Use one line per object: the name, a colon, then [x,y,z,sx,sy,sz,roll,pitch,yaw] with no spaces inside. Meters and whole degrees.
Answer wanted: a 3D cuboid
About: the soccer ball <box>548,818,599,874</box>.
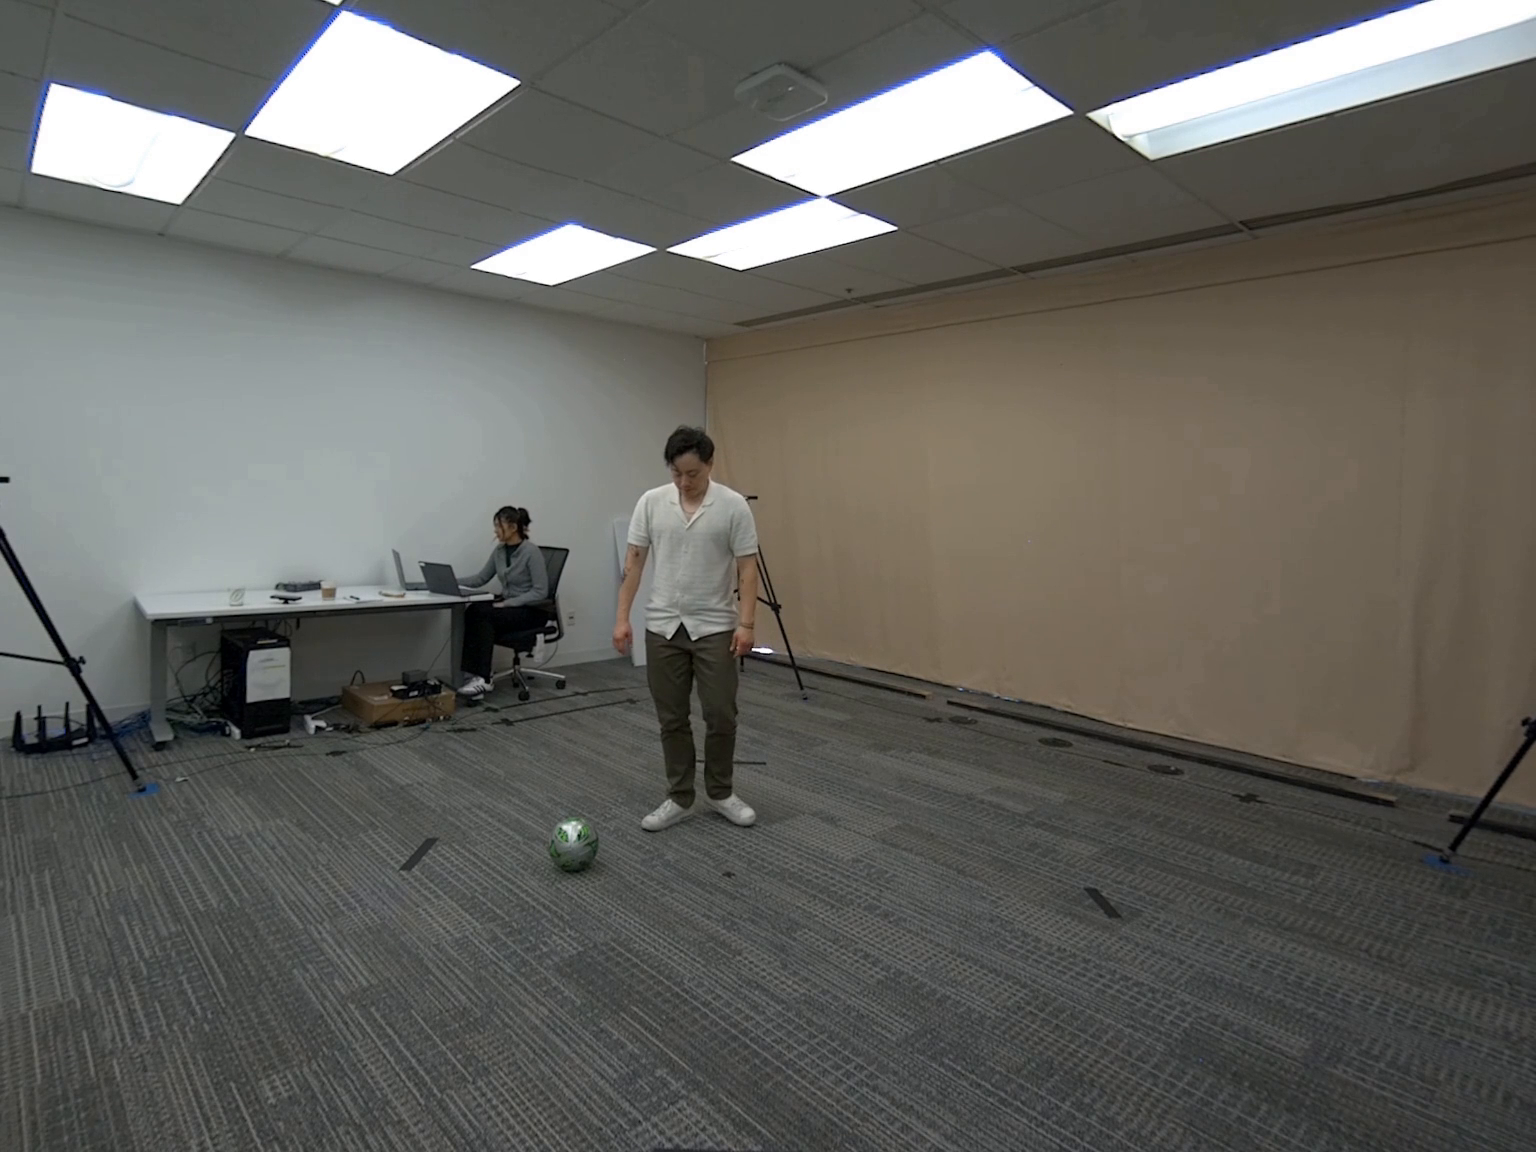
soccer ball: [-0.731,0.994,3.117,0.187,0.187,0.188,1,4,-1]
